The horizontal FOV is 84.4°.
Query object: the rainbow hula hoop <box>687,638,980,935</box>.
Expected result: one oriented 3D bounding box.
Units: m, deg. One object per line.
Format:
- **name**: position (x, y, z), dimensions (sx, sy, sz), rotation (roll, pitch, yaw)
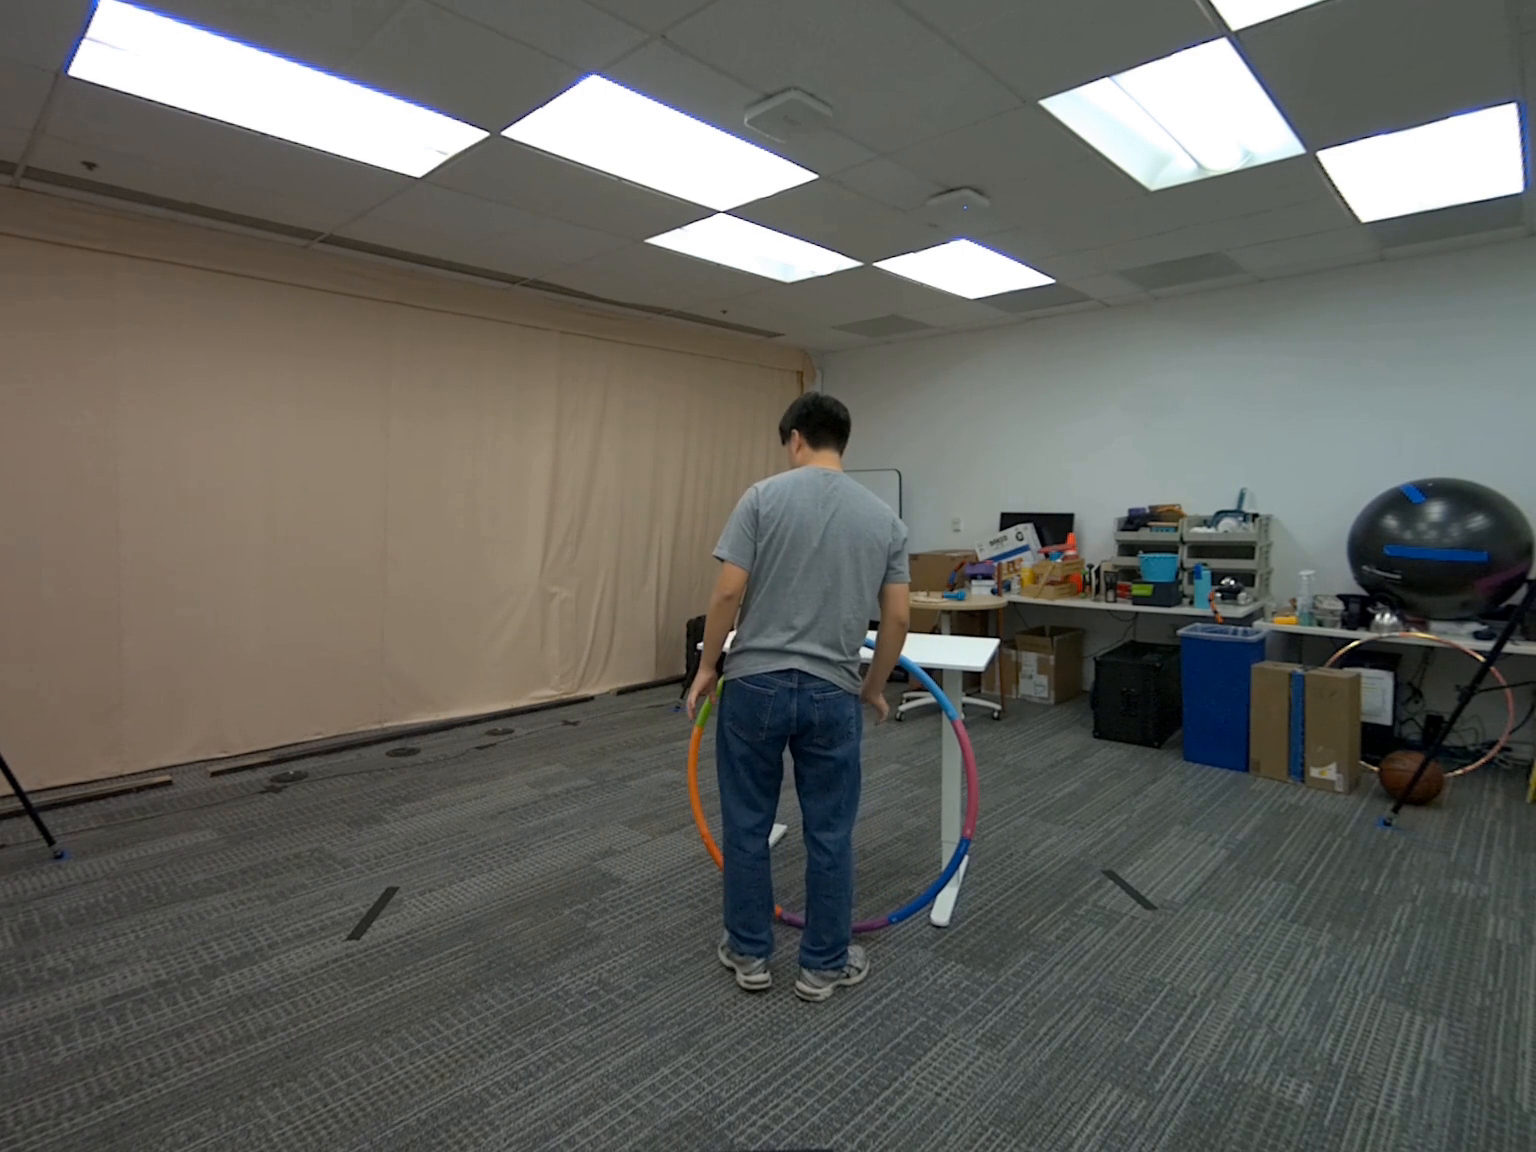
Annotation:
- **rainbow hula hoop**: position (0.188, 0.679, 2.809), dimensions (1.001, 0.982, 0.034), rotation (1, -7, 22)
